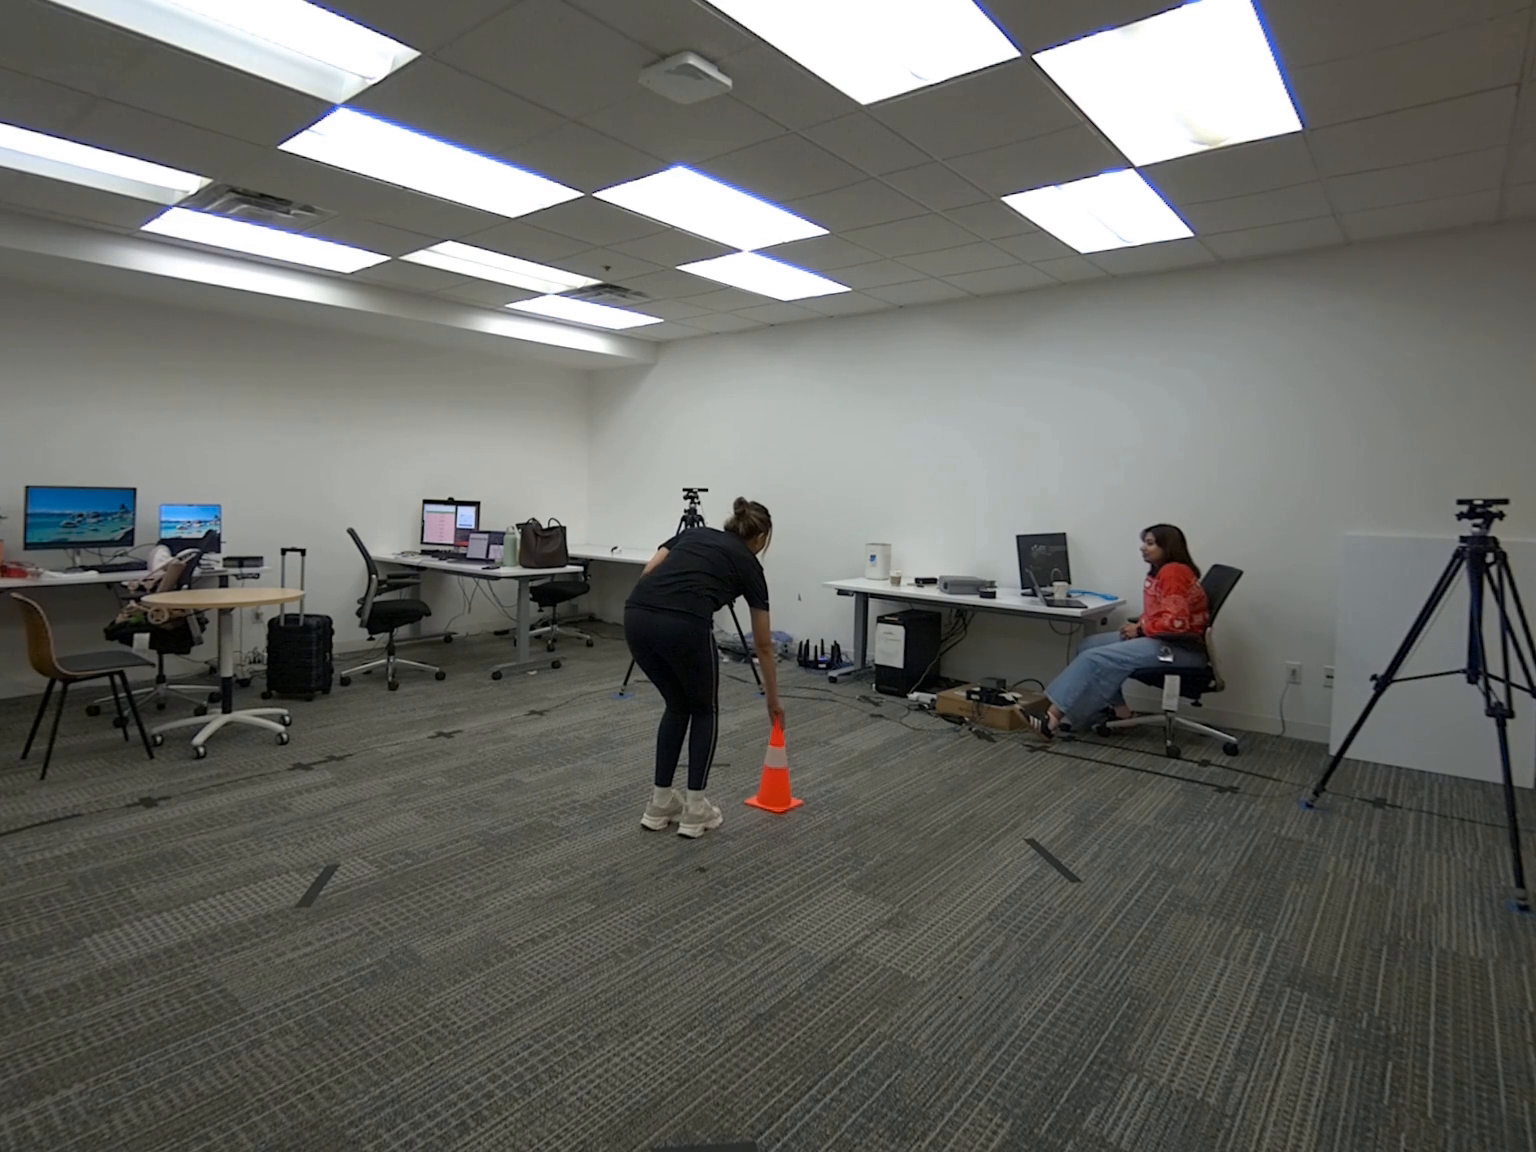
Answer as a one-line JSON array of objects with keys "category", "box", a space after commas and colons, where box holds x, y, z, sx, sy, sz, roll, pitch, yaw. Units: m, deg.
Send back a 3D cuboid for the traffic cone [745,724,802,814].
[{"category": "traffic cone", "box": [0.017, 0.805, 3.780, 0.210, 0.383, 0.199, 3, 4, 34]}]
